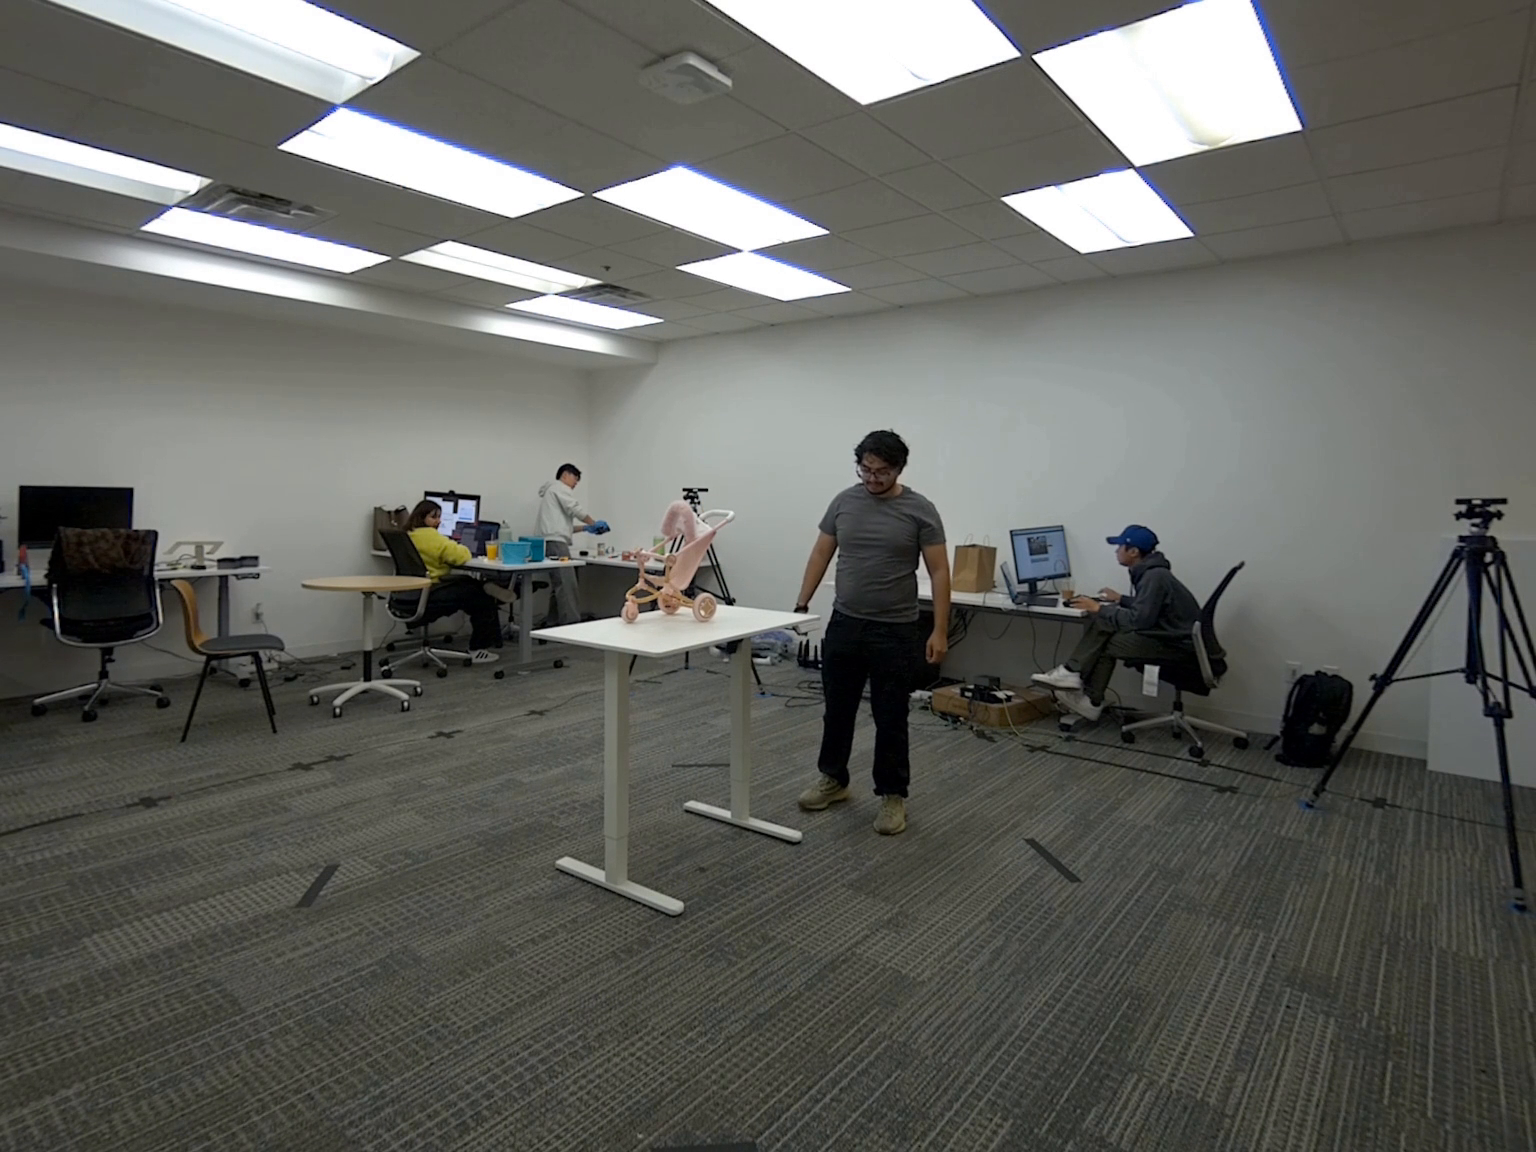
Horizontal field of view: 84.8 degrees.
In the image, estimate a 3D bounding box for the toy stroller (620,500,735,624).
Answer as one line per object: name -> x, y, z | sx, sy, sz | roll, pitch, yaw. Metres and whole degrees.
toy stroller -> -0.378, -0.056, 3.298 | 0.330, 0.537, 0.290 | 18, -6, -32
